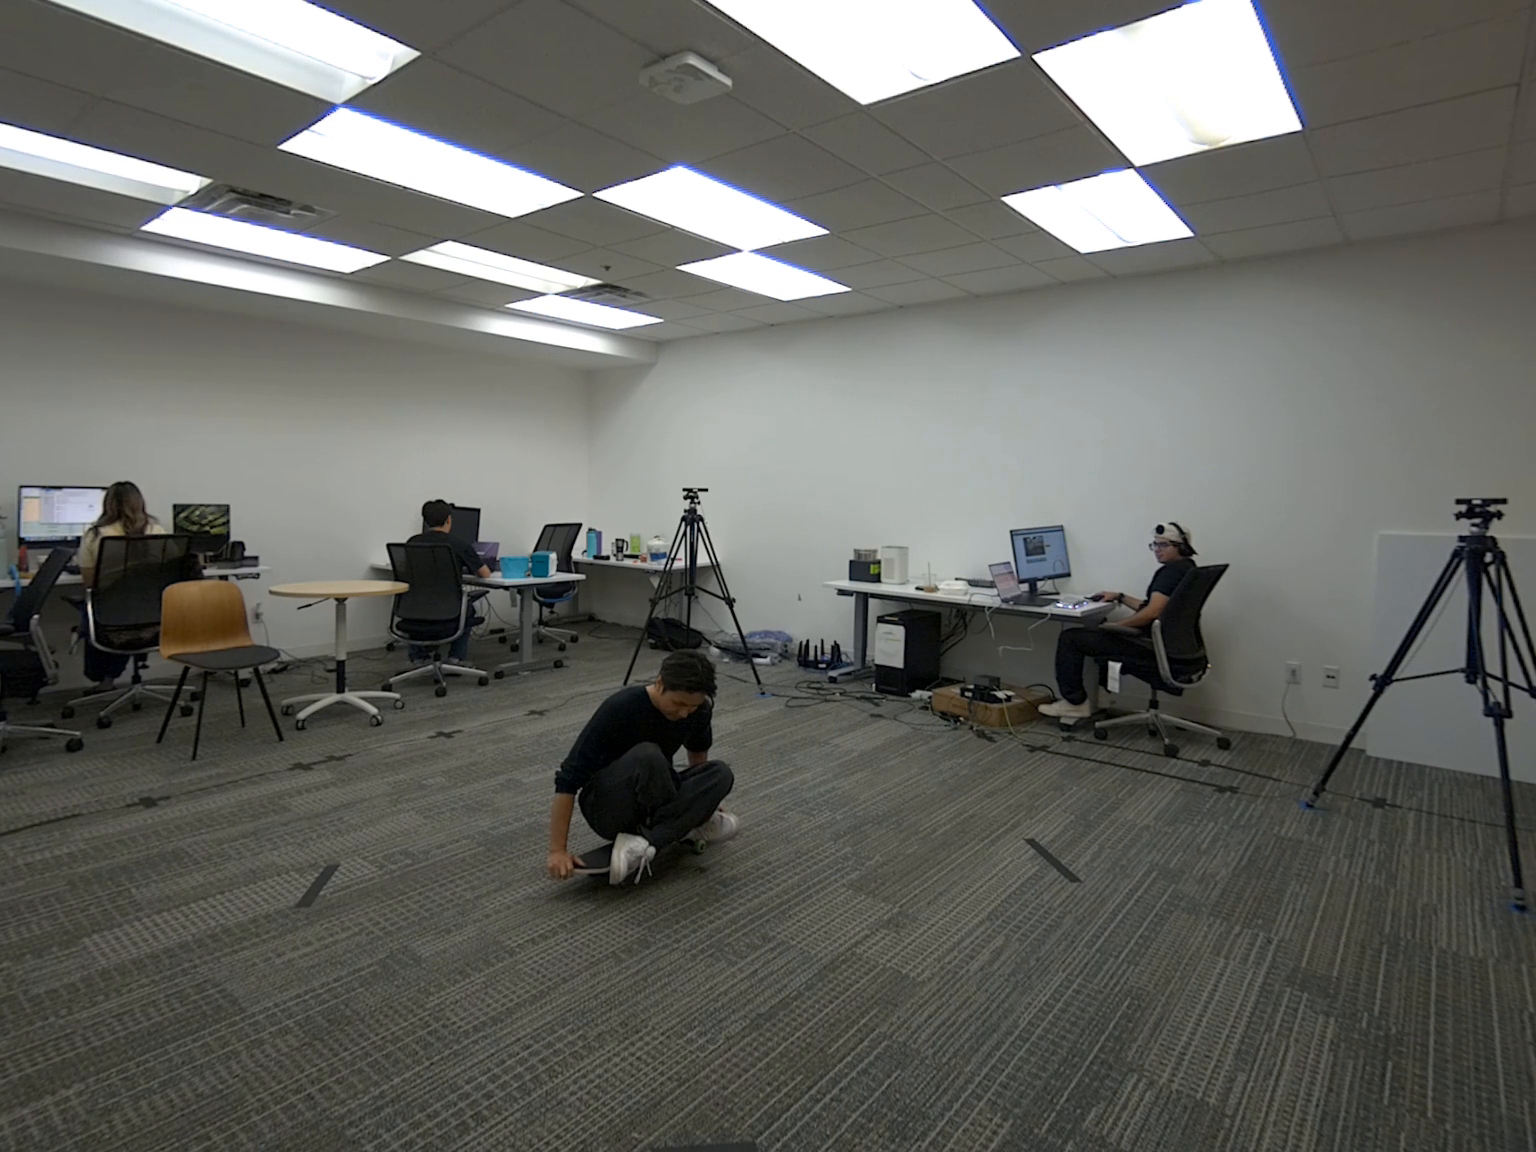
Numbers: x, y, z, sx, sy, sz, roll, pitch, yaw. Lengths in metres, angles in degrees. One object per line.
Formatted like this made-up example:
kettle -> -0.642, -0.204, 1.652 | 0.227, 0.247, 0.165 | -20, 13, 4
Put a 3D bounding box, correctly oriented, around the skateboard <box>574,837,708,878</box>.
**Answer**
skateboard -> -0.446, 1.010, 3.134 | 0.199, 0.110, 0.763 | -2, 2, 35
